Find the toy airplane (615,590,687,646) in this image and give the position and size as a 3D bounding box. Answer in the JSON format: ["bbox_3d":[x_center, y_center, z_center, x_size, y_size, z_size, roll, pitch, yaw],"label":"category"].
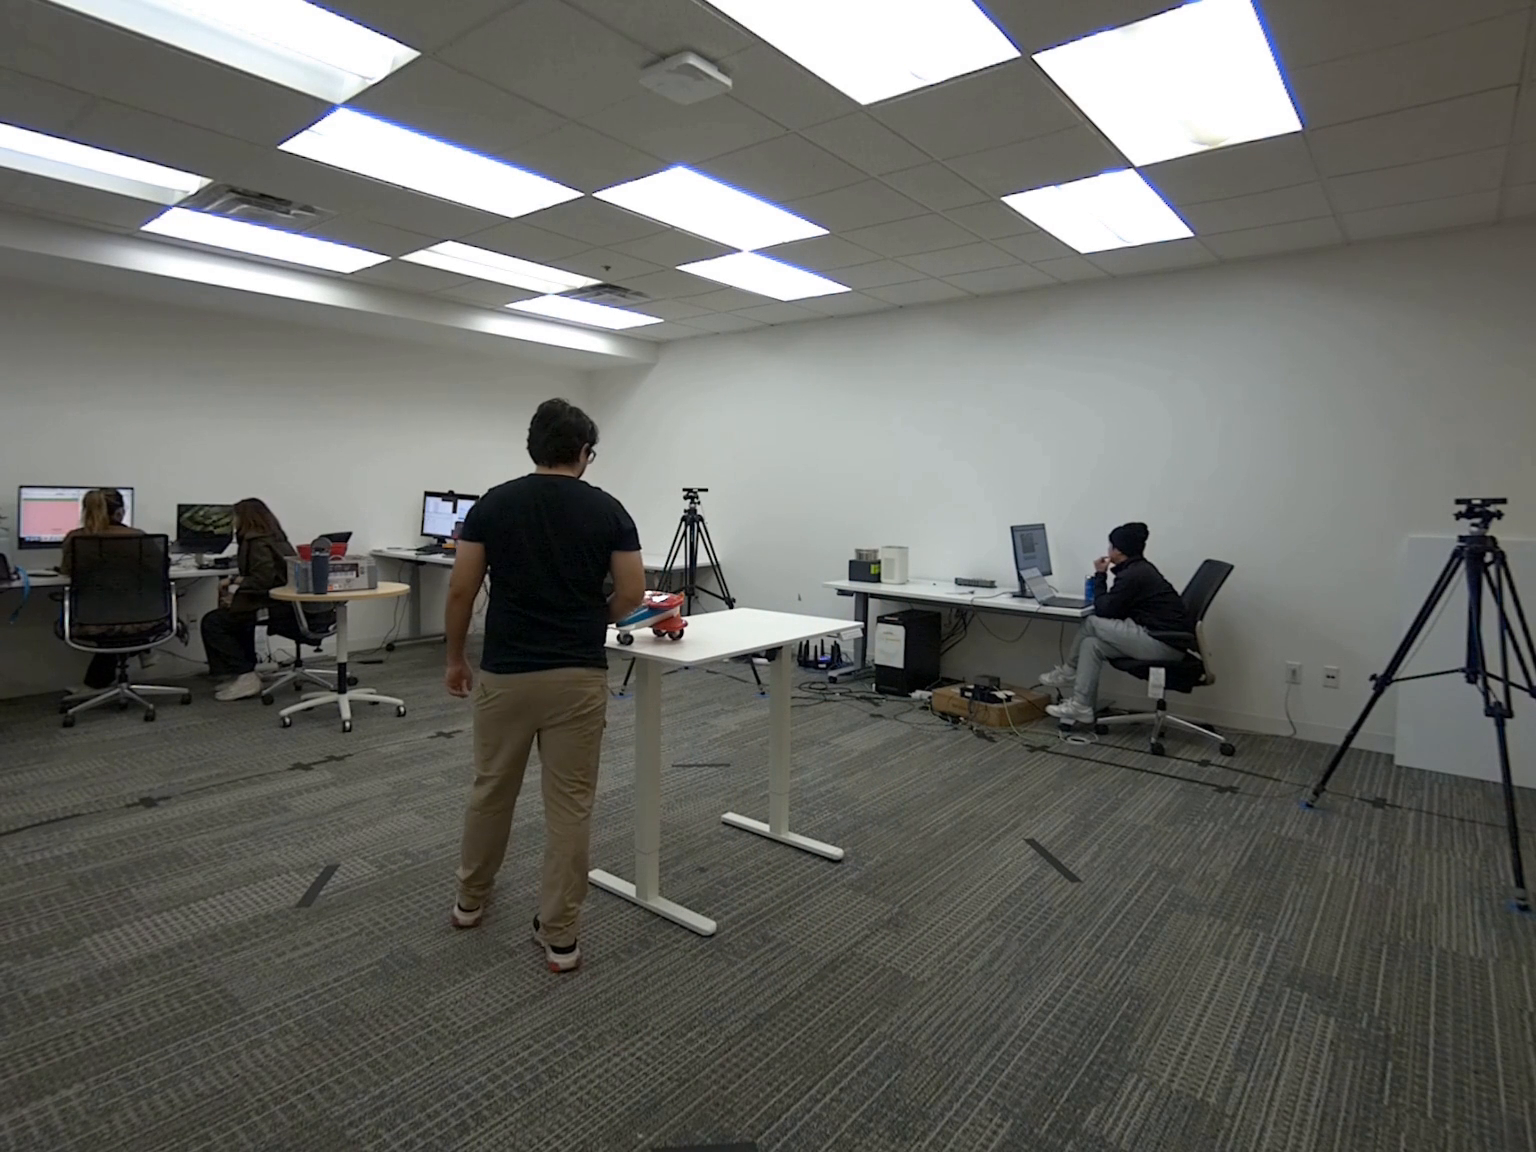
[{"bbox_3d":[-0.390,0.139,2.813,0.256,0.156,0.254,1,4,19],"label":"toy airplane"}]
